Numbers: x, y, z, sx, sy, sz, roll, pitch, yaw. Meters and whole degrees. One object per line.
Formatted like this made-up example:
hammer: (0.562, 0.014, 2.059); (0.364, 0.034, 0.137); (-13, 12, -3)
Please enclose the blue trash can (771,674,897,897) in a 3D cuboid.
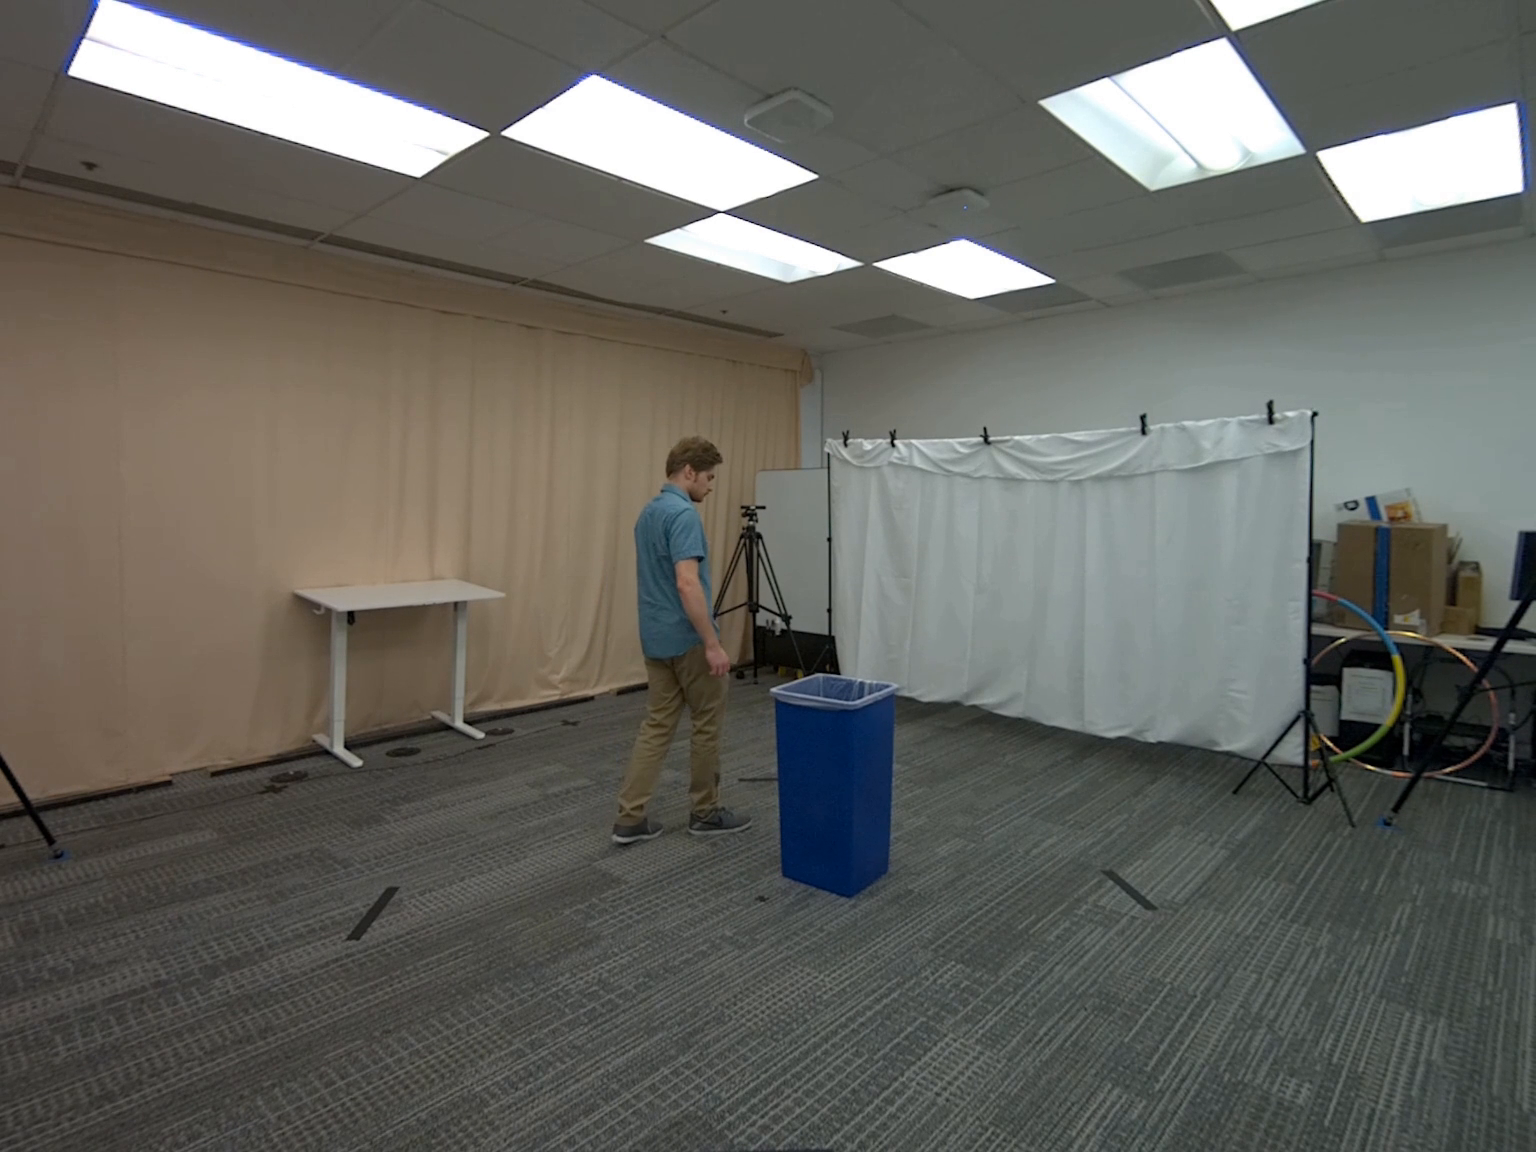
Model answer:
blue trash can: (0.256, 0.770, 3.159); (0.390, 0.712, 0.363); (2, 4, 37)
